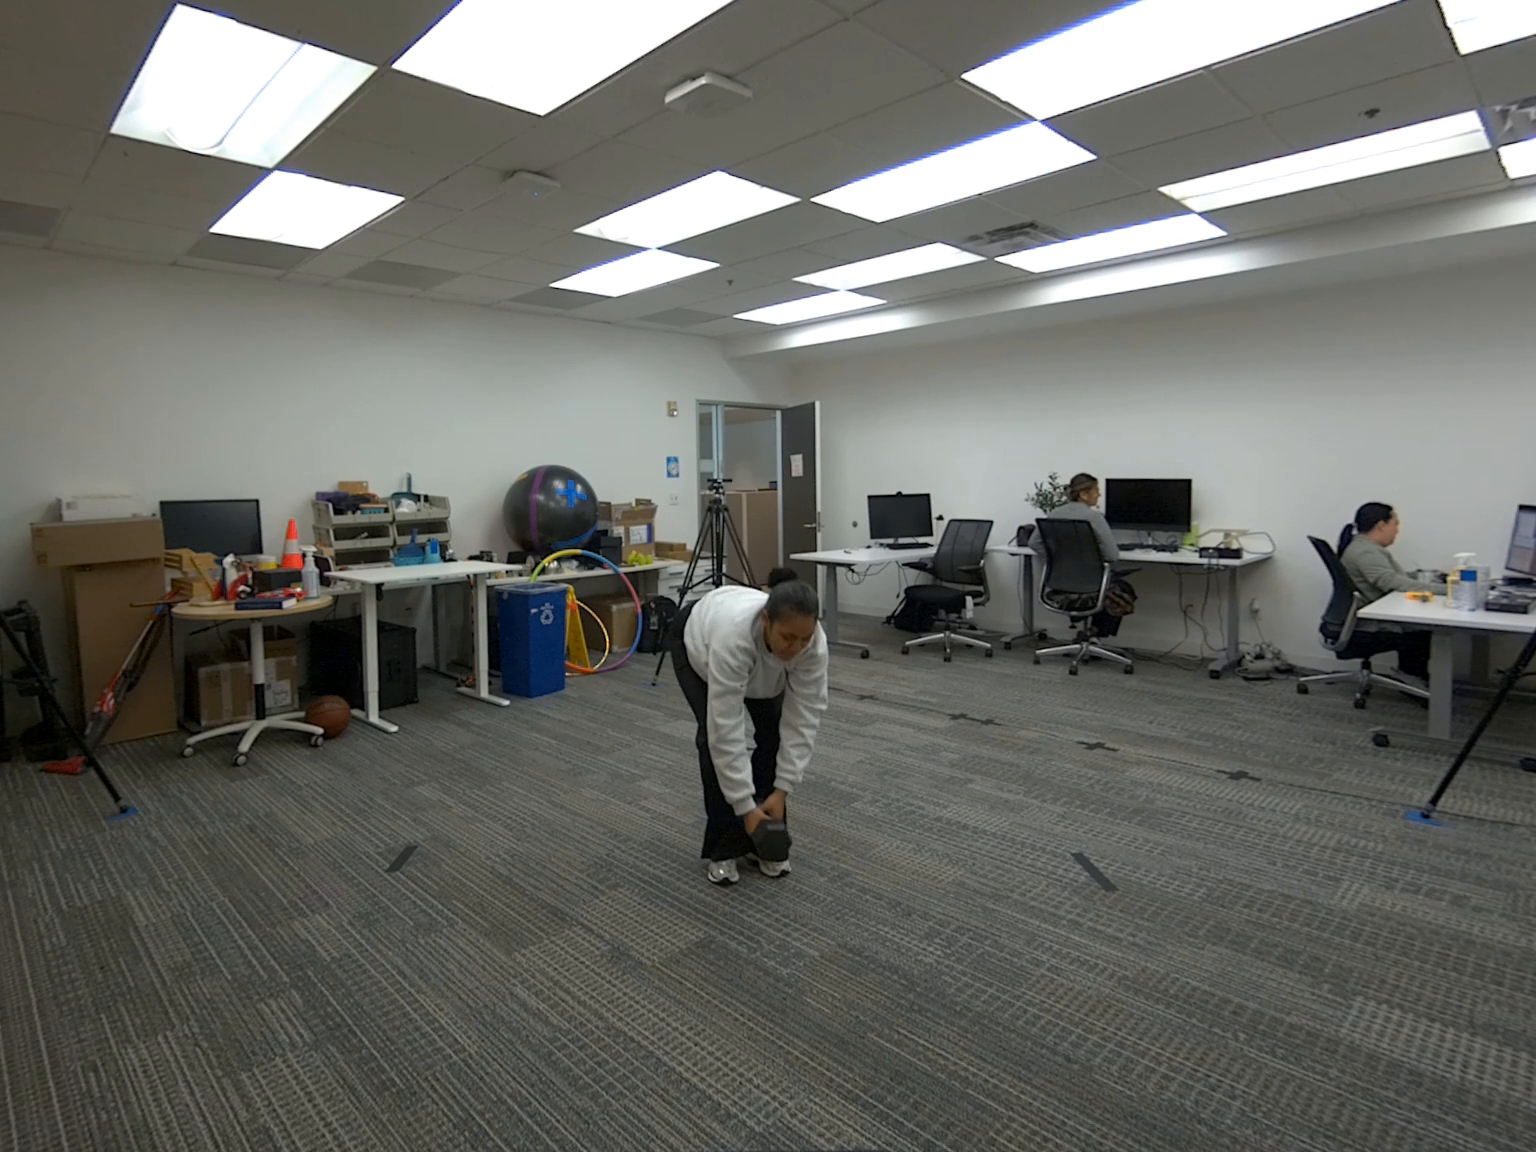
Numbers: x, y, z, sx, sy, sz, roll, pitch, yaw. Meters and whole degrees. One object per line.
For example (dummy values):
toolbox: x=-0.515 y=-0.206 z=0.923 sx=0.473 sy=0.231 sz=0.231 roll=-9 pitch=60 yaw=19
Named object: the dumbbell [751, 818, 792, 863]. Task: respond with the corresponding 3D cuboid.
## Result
dumbbell: x=0.004 y=0.781 z=2.760 sx=0.108 sy=0.123 sz=0.296 roll=39 pitch=6 yaw=-7
